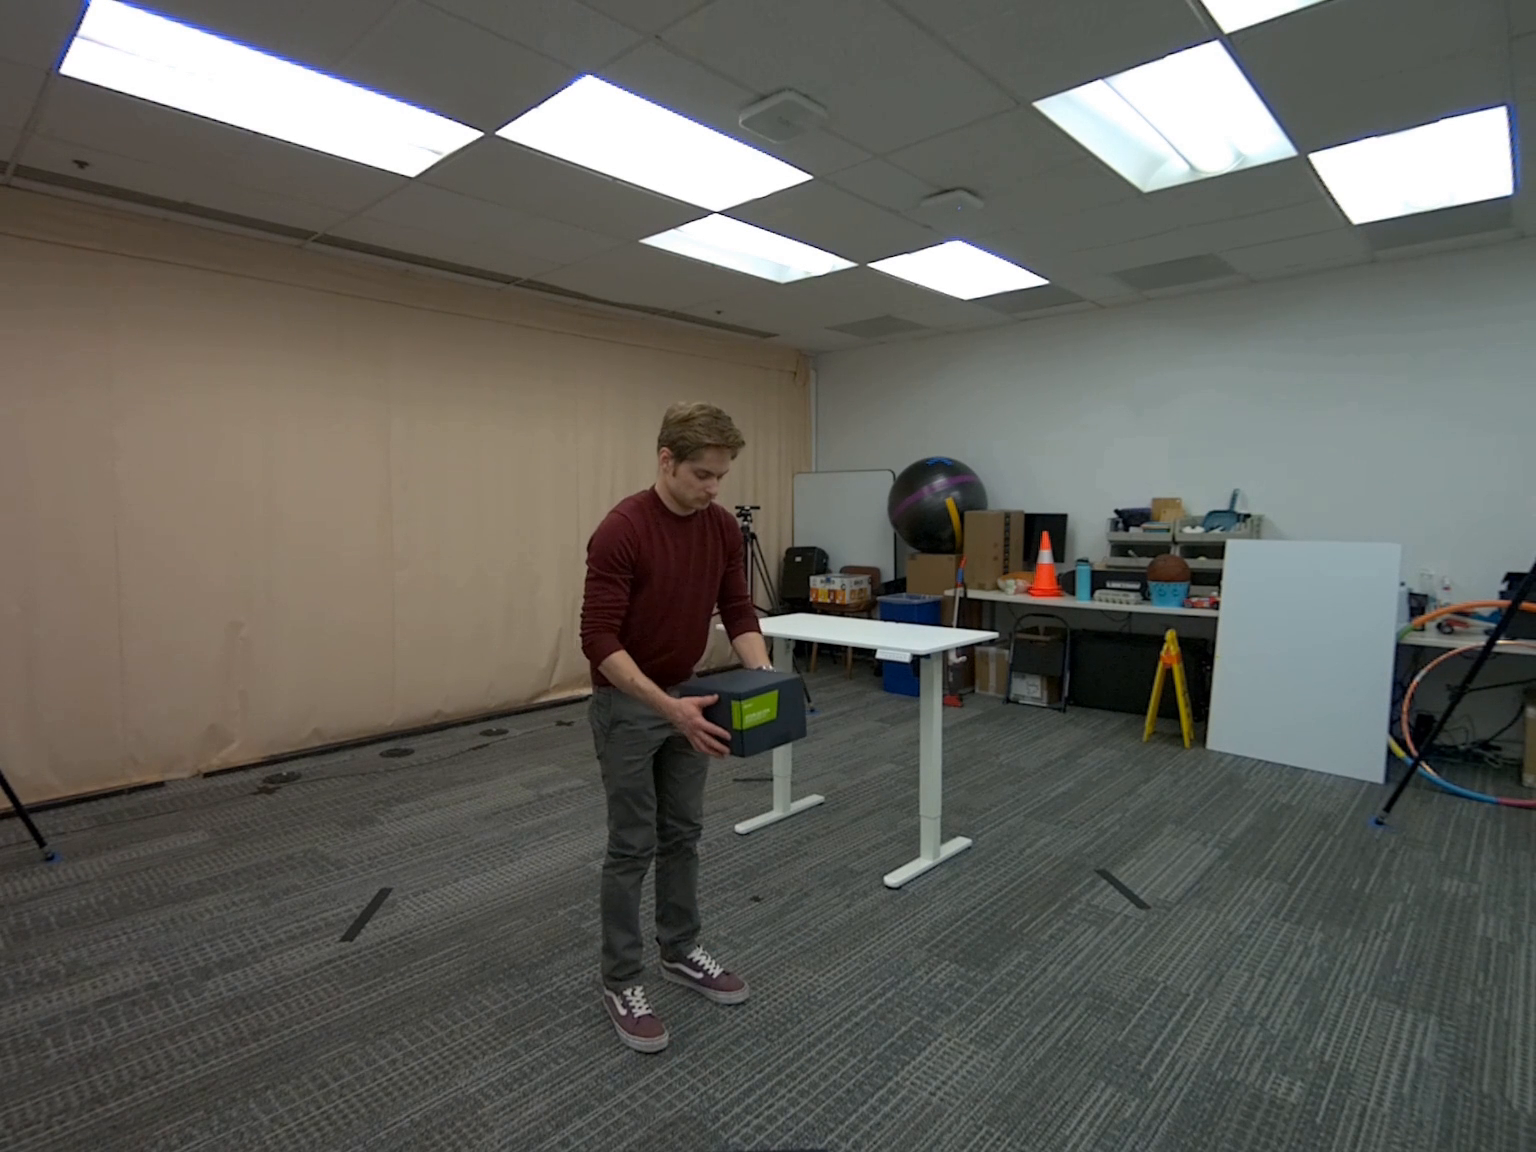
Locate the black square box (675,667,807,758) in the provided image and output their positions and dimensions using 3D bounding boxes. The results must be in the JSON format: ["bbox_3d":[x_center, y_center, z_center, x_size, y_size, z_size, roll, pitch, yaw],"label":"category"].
[{"bbox_3d":[-0.061,0.343,2.060,0.221,0.155,0.224,-6,5,-43],"label":"black square box"}]
